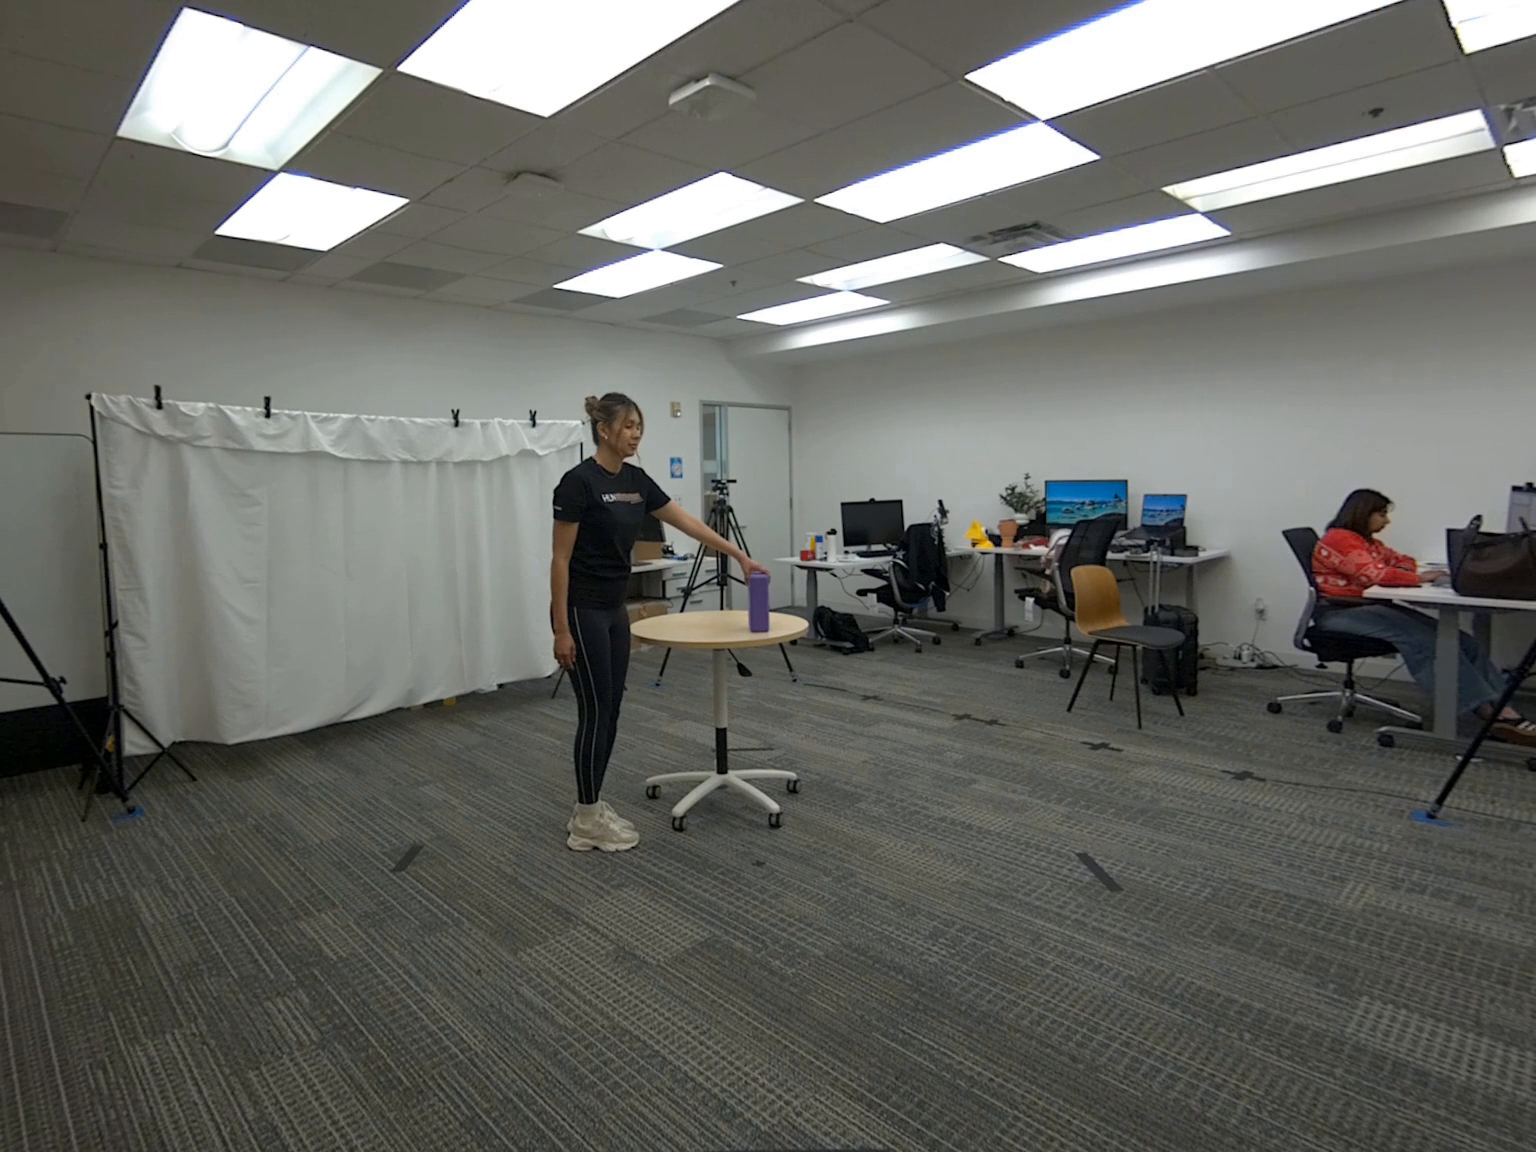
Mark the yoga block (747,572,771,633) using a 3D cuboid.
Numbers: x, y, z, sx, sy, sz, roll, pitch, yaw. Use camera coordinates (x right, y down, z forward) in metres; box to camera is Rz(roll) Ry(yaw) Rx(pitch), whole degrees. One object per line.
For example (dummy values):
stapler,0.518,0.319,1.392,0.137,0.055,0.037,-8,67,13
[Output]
yoga block,-0.047,0.103,3.495,0.077,0.227,0.149,-3,8,3
